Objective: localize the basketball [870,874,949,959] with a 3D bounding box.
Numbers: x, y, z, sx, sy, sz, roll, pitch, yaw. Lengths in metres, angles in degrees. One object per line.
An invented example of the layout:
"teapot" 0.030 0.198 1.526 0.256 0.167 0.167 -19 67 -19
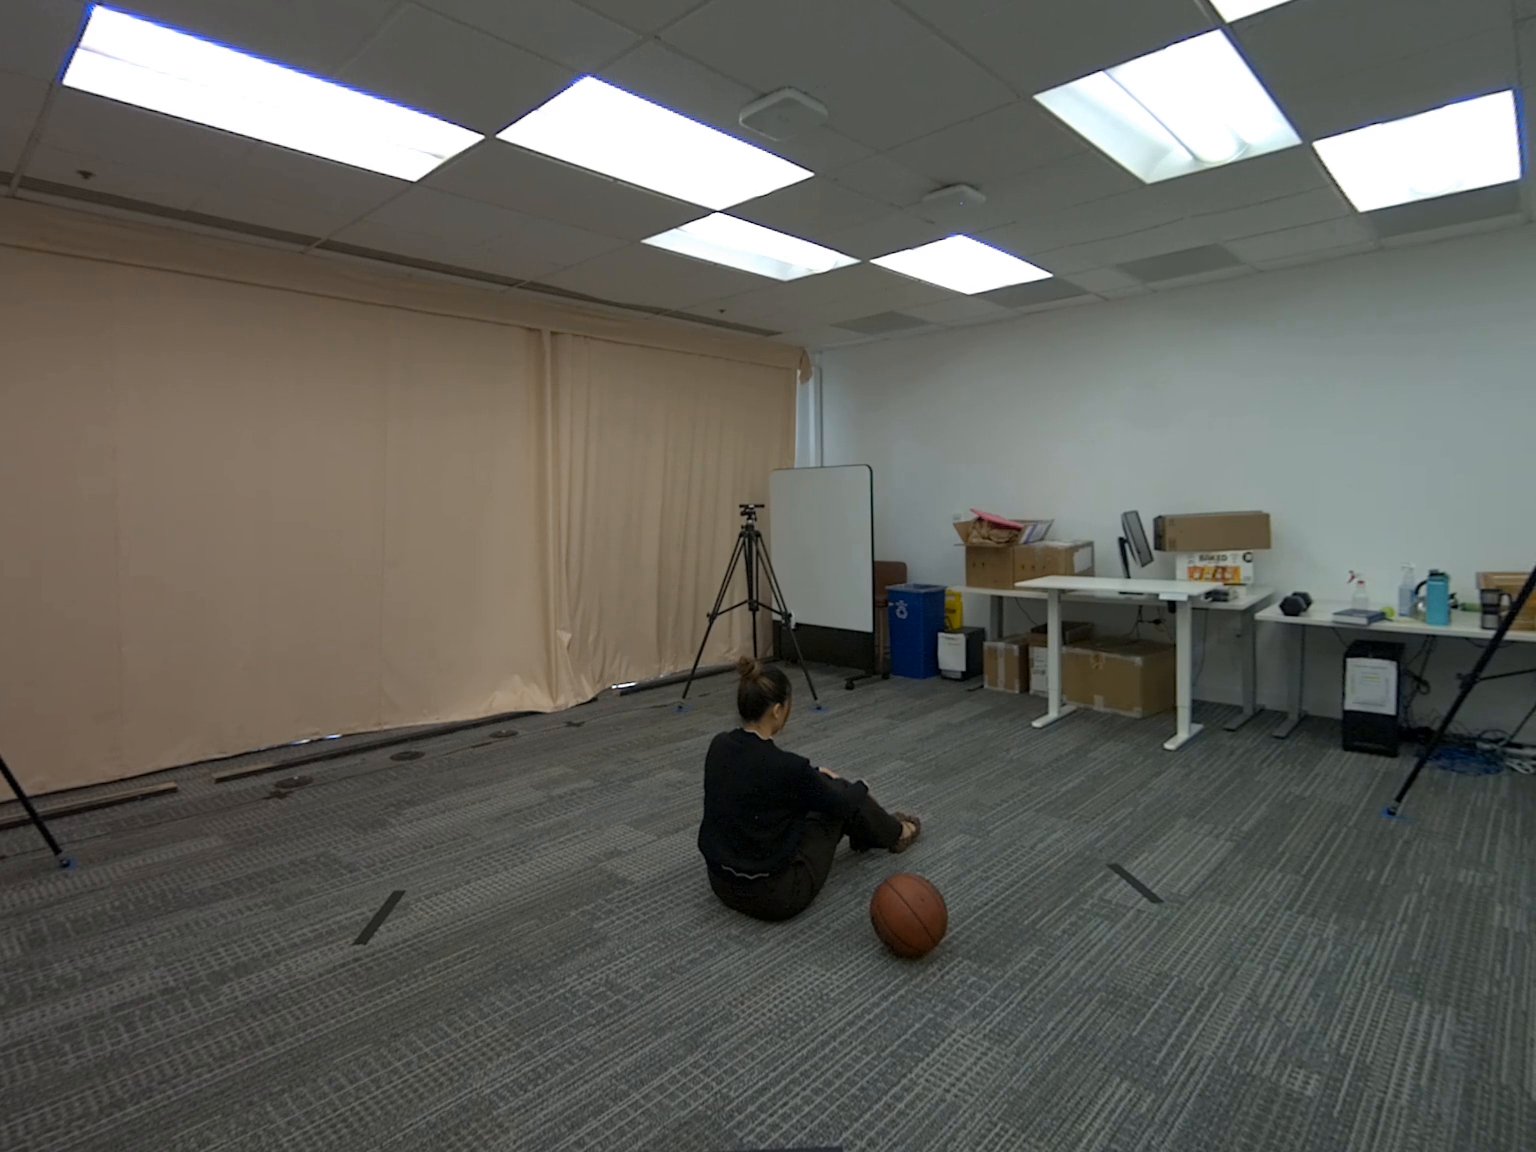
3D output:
"basketball" 0.444 1.046 2.603 0.236 0.235 0.237 -1 4 -2
